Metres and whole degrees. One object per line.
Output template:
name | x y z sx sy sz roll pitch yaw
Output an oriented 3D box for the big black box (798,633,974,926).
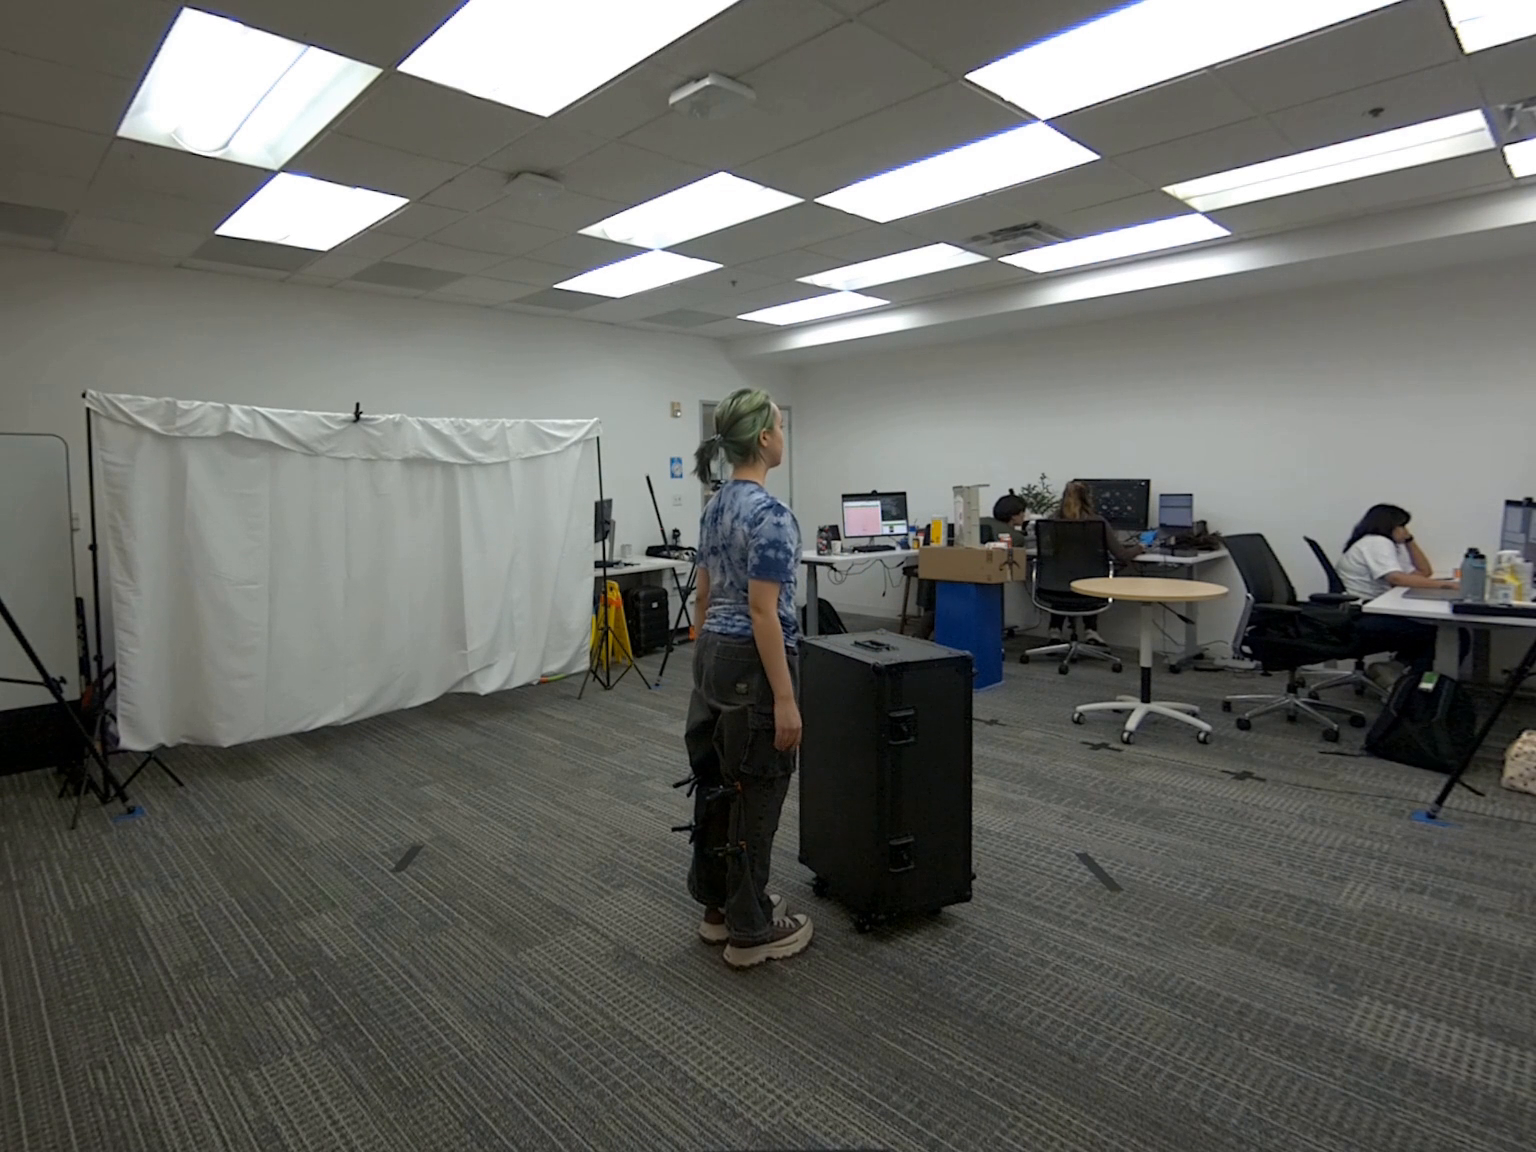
big black box | 0.379 0.592 2.795 0.388 0.859 0.534 -2 4 -26
